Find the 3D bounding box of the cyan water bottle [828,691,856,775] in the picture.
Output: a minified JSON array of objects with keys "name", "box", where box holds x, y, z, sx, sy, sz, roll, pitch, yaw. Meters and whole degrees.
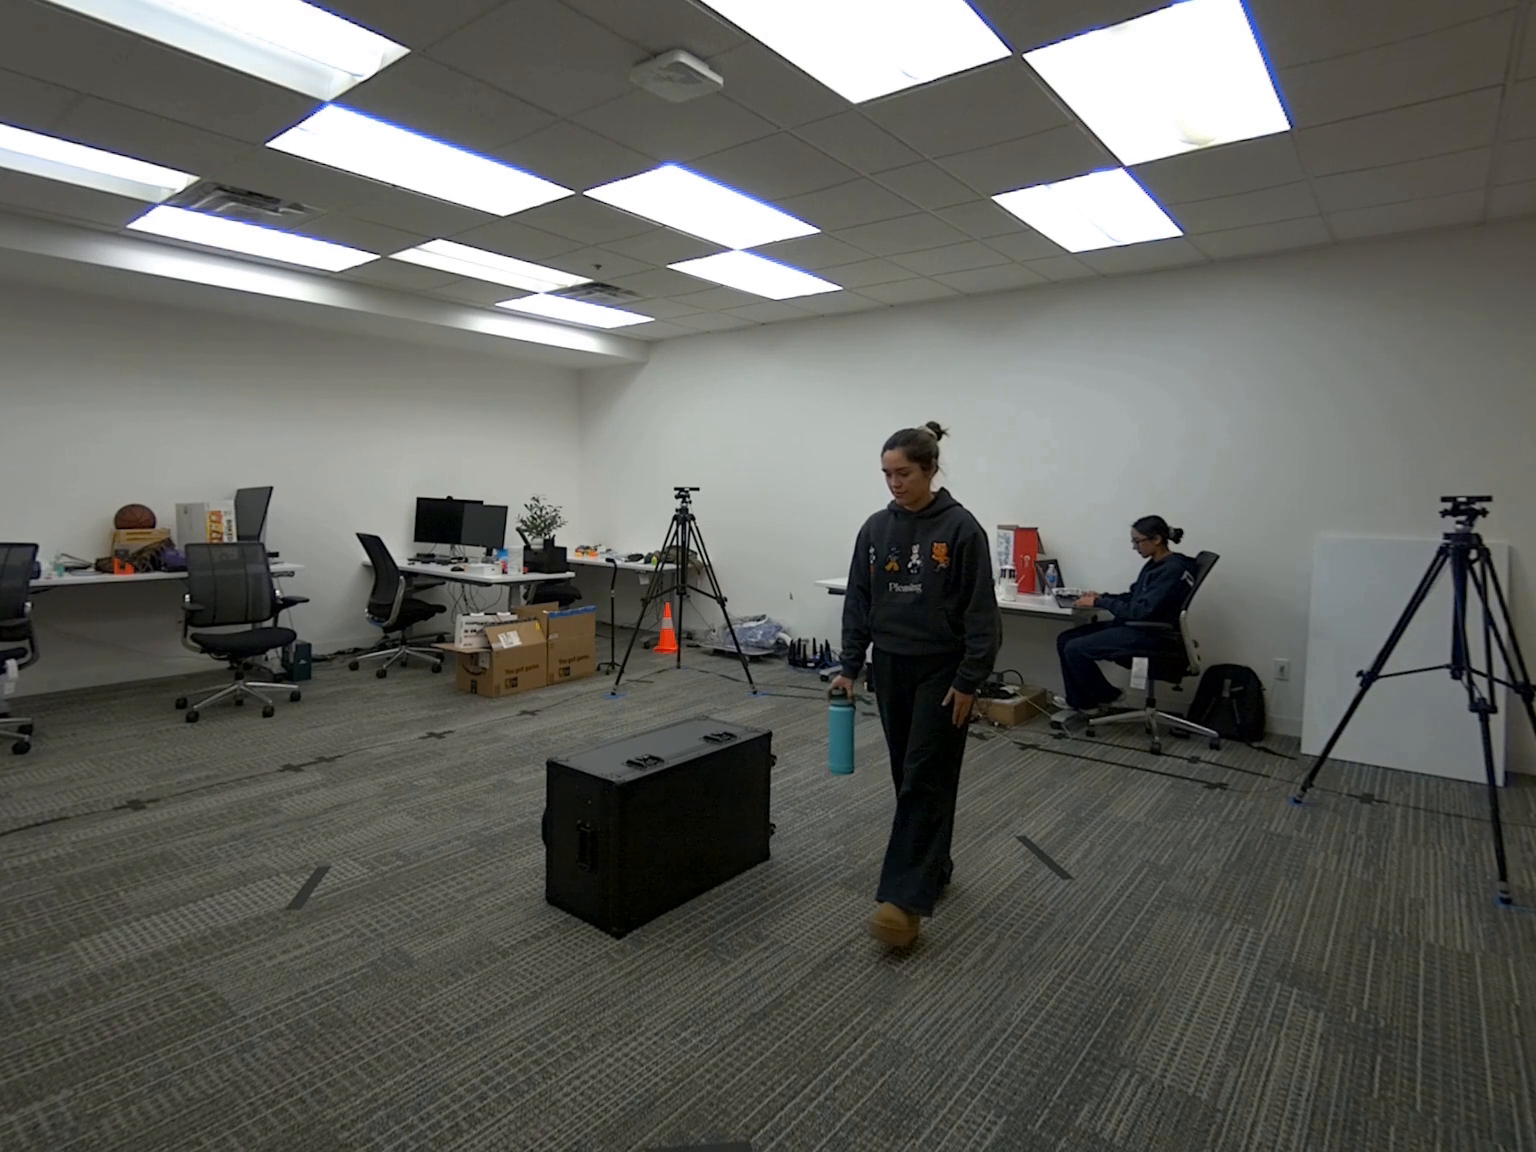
[{"name":"cyan water bottle","box":[0.263,0.533,2.943,0.092,0.284,0.092,1,-4,-2]}]
